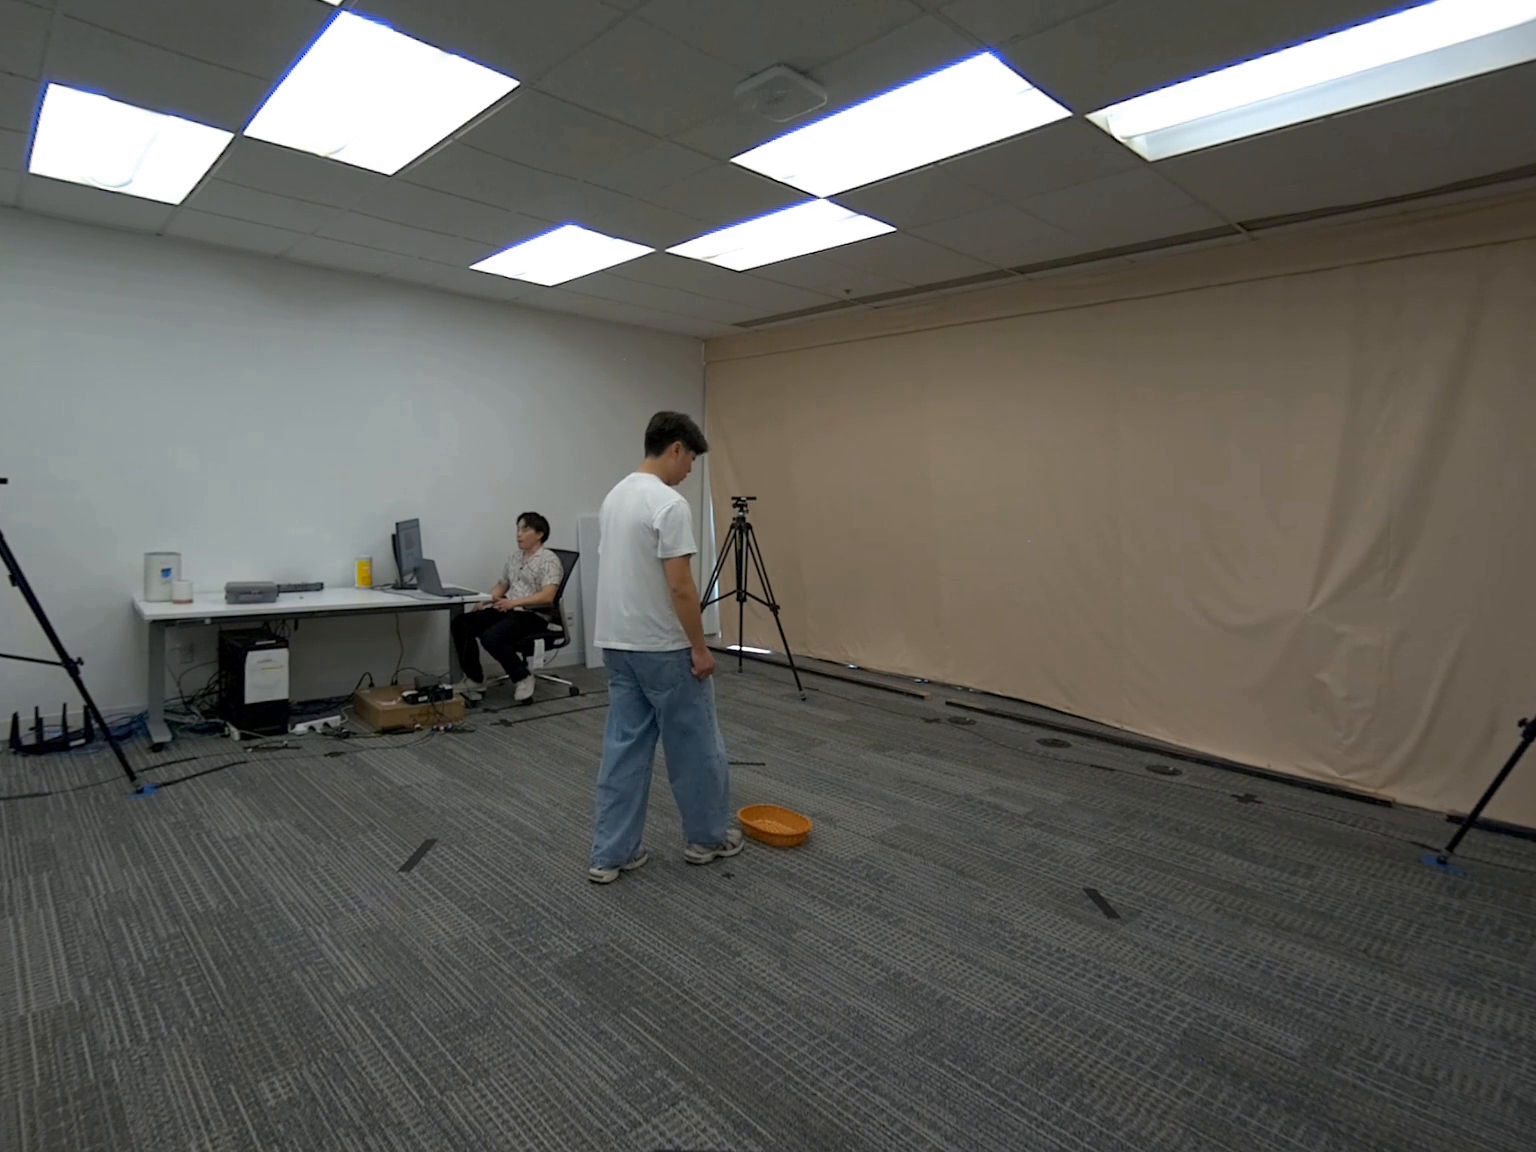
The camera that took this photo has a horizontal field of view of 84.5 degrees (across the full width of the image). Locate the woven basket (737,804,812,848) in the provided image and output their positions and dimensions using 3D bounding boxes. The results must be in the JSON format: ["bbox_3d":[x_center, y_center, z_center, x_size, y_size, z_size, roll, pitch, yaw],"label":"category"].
[{"bbox_3d":[0.017,1.037,3.487,0.246,0.073,0.359,-1,6,-40],"label":"woven basket"}]
